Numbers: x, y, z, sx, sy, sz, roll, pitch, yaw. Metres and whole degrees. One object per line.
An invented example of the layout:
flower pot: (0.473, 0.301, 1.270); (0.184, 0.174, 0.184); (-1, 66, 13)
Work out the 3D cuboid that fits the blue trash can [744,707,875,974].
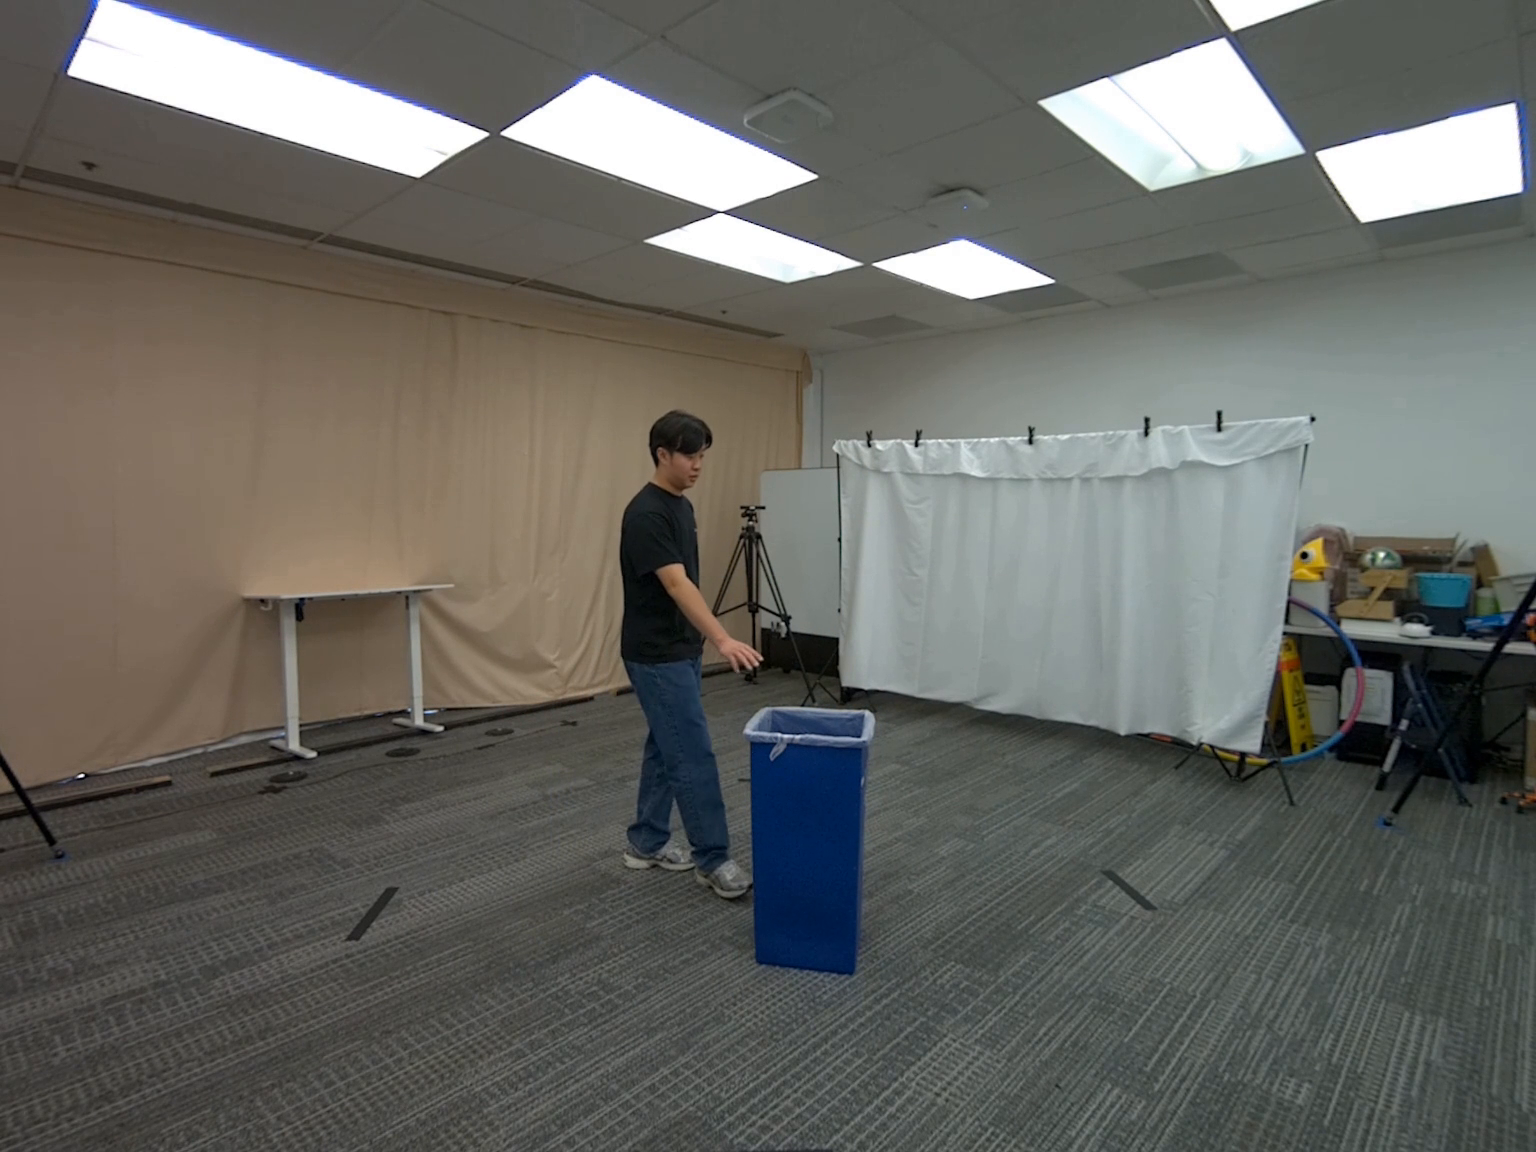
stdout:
blue trash can: (0.144, 0.813, 2.649); (0.383, 0.713, 0.369); (1, 2, 11)
